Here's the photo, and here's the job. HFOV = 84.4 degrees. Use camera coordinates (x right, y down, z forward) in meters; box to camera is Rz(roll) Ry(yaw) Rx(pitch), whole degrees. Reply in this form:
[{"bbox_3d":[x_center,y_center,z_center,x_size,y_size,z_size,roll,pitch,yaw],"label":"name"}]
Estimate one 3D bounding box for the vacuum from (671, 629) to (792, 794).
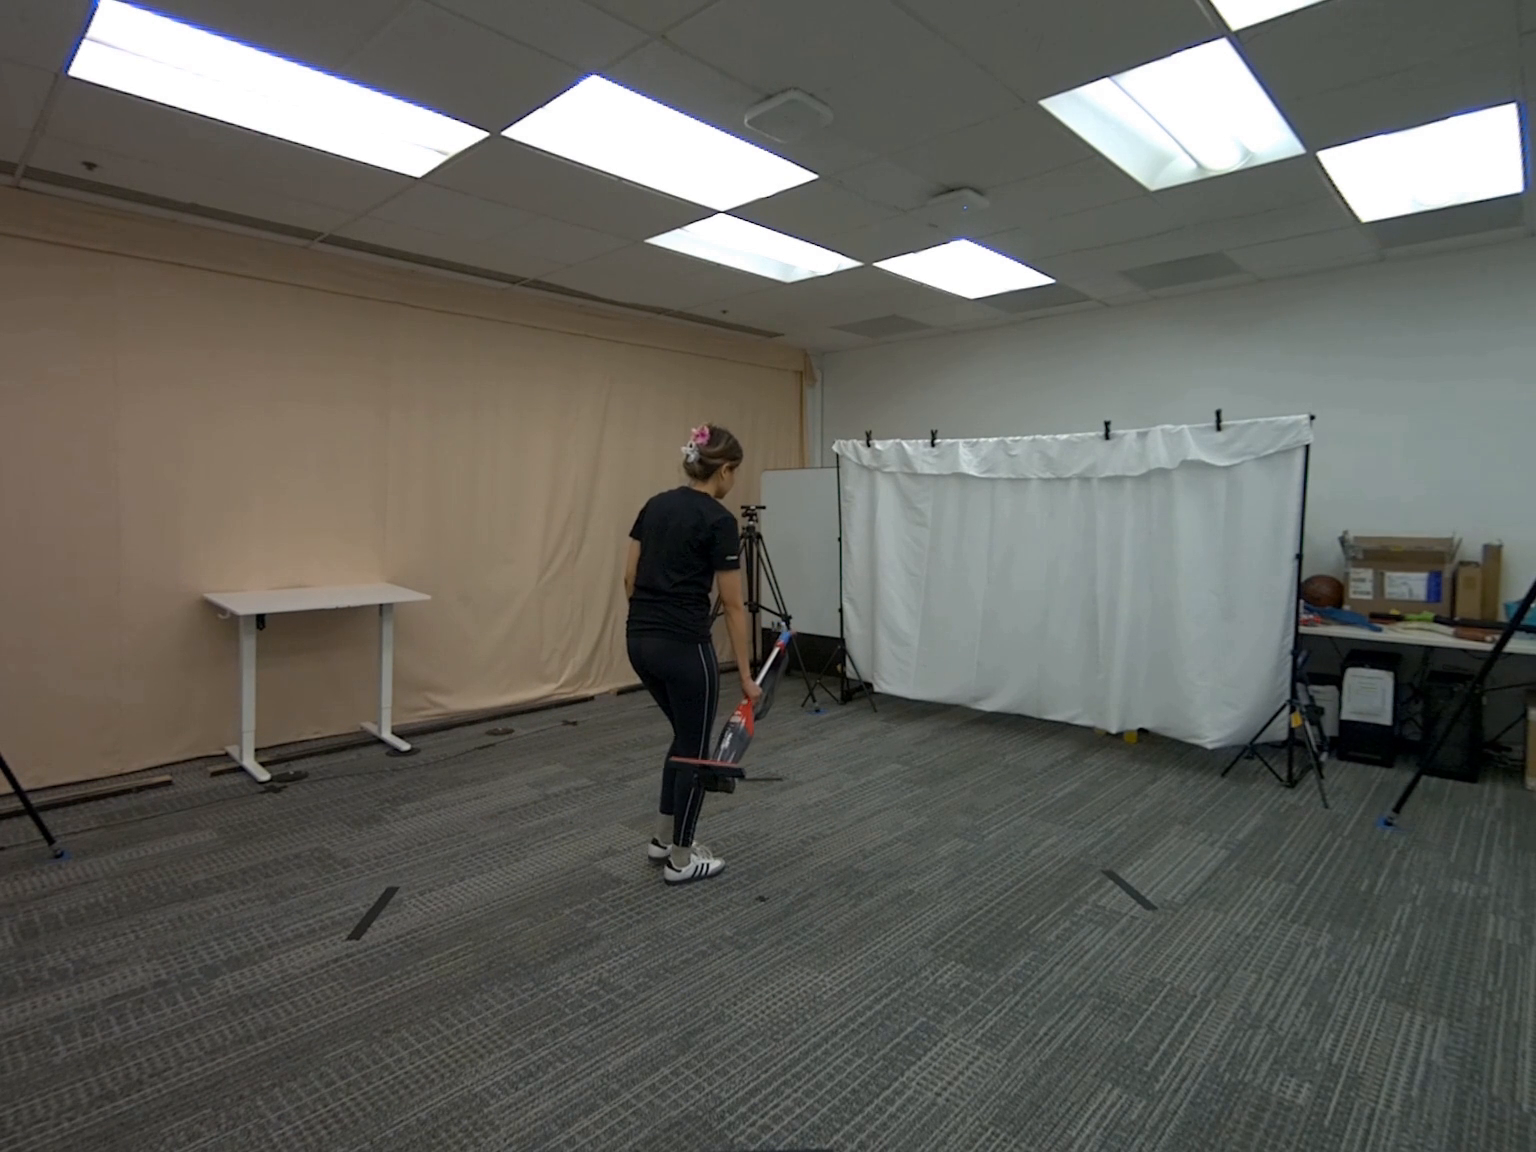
[{"bbox_3d":[-0.019,0.453,3.152,0.258,0.142,1.042,-1,23,21],"label":"vacuum"}]
